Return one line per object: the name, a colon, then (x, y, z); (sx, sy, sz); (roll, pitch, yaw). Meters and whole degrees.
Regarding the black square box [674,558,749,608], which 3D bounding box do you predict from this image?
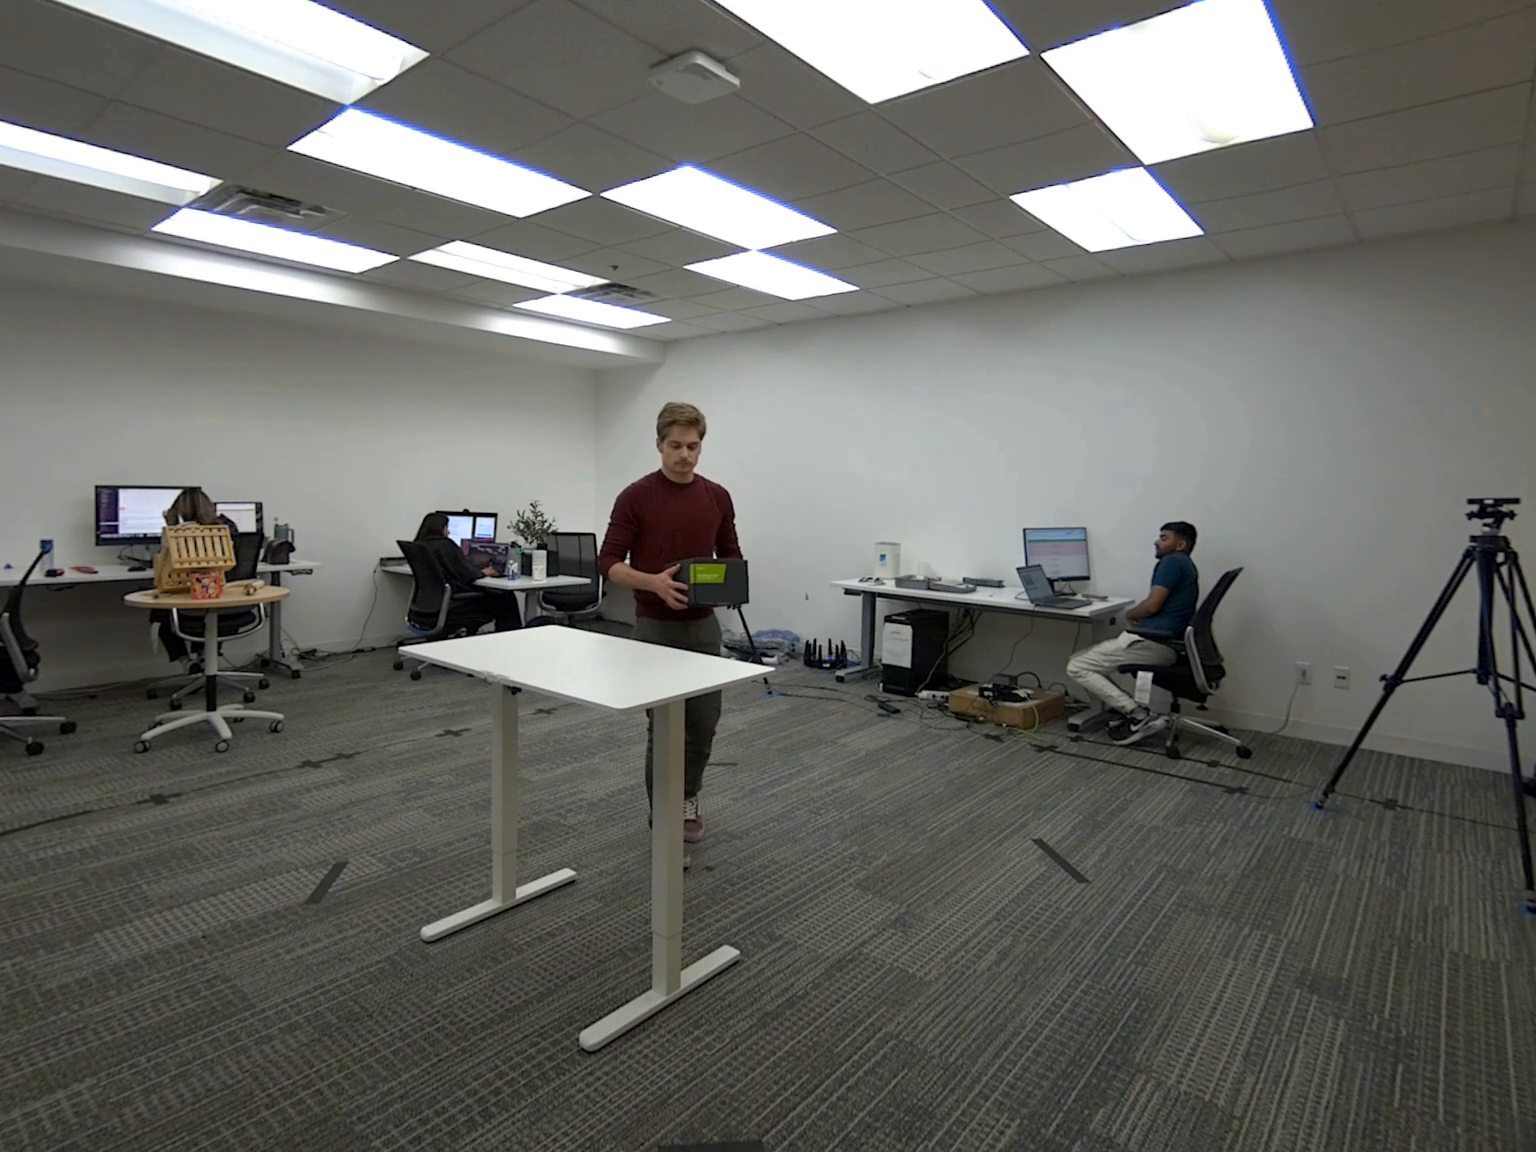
black square box: (-0.227, 0.018, 3.052); (0.221, 0.157, 0.222); (1, -5, -34)
